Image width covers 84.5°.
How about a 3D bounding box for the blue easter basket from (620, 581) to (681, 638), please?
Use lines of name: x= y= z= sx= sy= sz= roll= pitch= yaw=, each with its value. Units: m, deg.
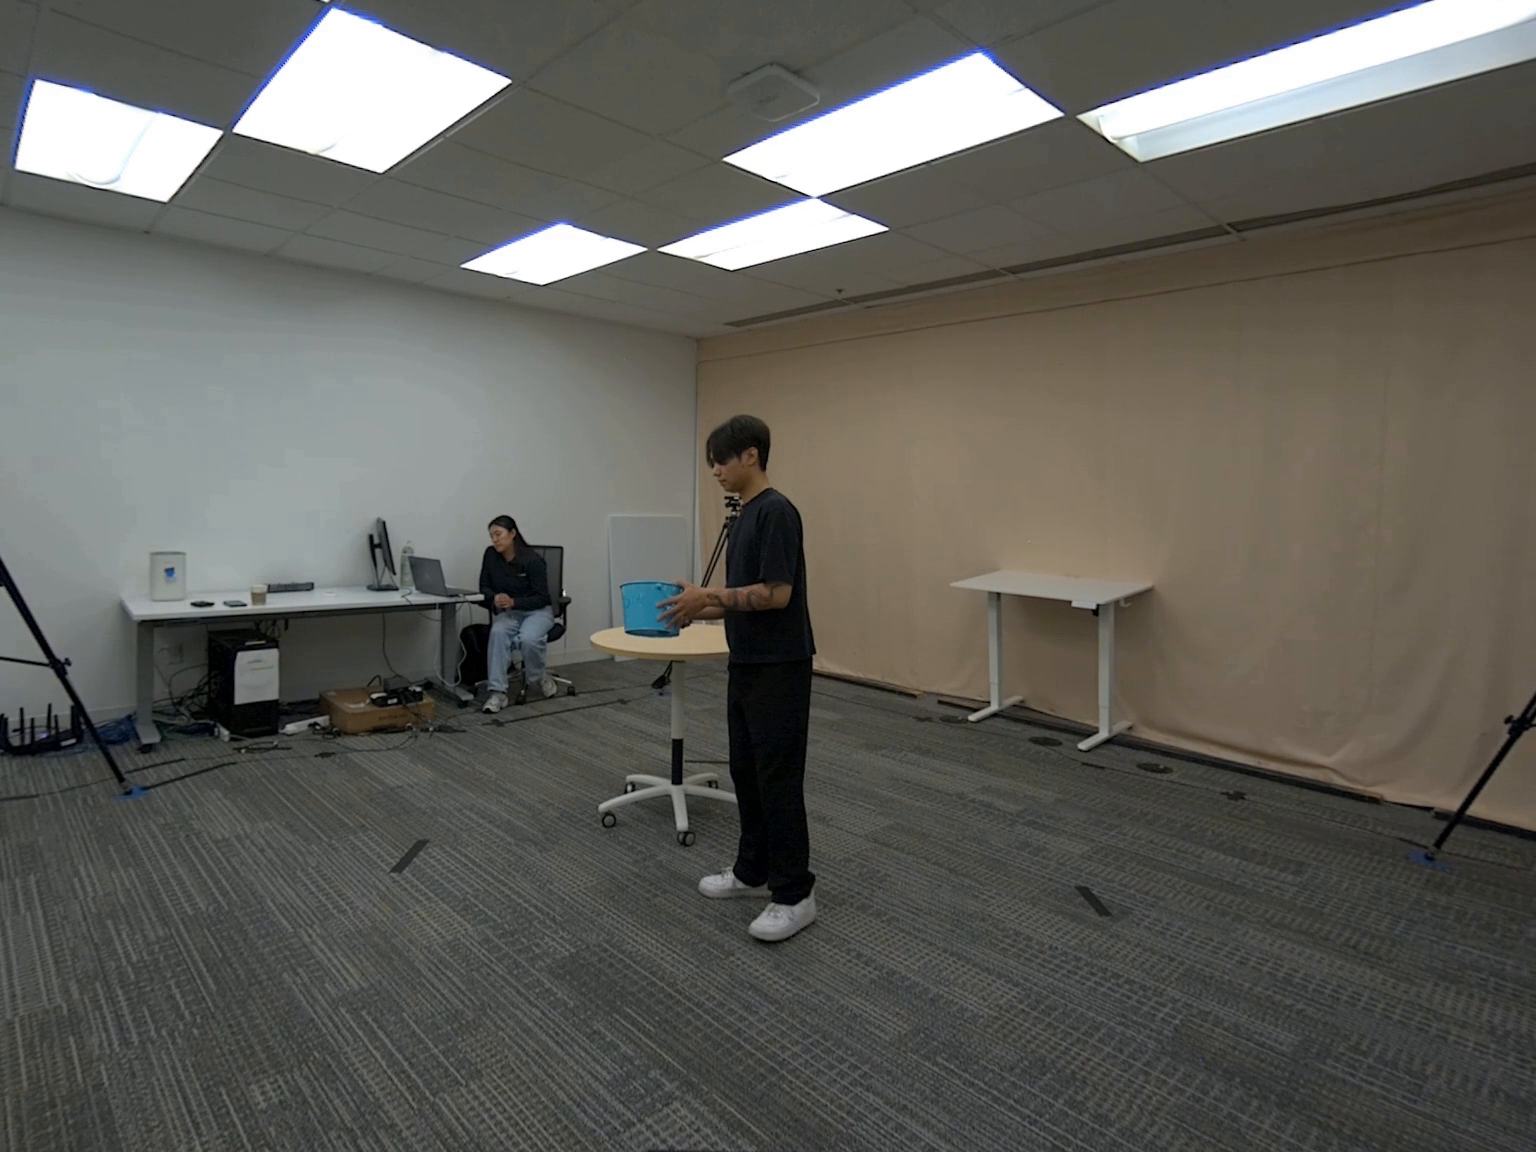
blue easter basket: x=-0.377 y=0.117 z=2.783 sx=0.243 sy=0.157 sz=0.242 roll=2 pitch=-10 yaw=-1
